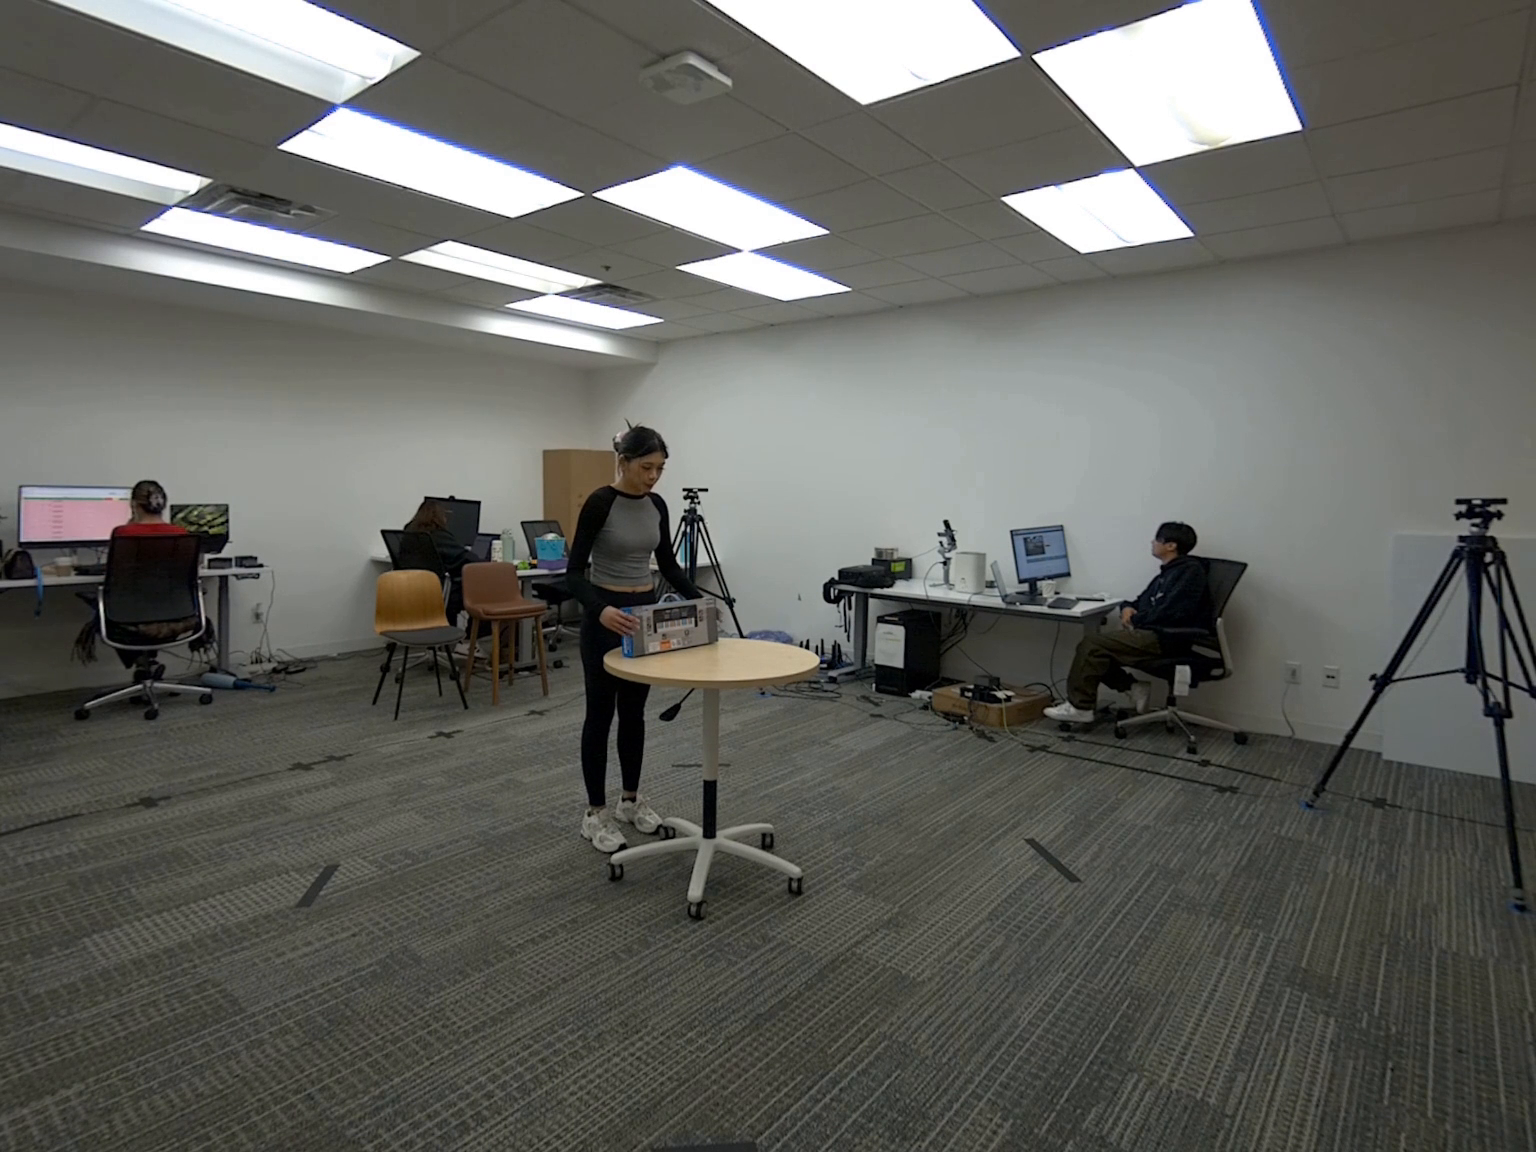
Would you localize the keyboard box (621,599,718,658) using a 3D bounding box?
[{"bbox_3d":[-0.362,0.185,3.156,0.061,0.176,0.424,-3,2,42],"label":"keyboard box"}]
